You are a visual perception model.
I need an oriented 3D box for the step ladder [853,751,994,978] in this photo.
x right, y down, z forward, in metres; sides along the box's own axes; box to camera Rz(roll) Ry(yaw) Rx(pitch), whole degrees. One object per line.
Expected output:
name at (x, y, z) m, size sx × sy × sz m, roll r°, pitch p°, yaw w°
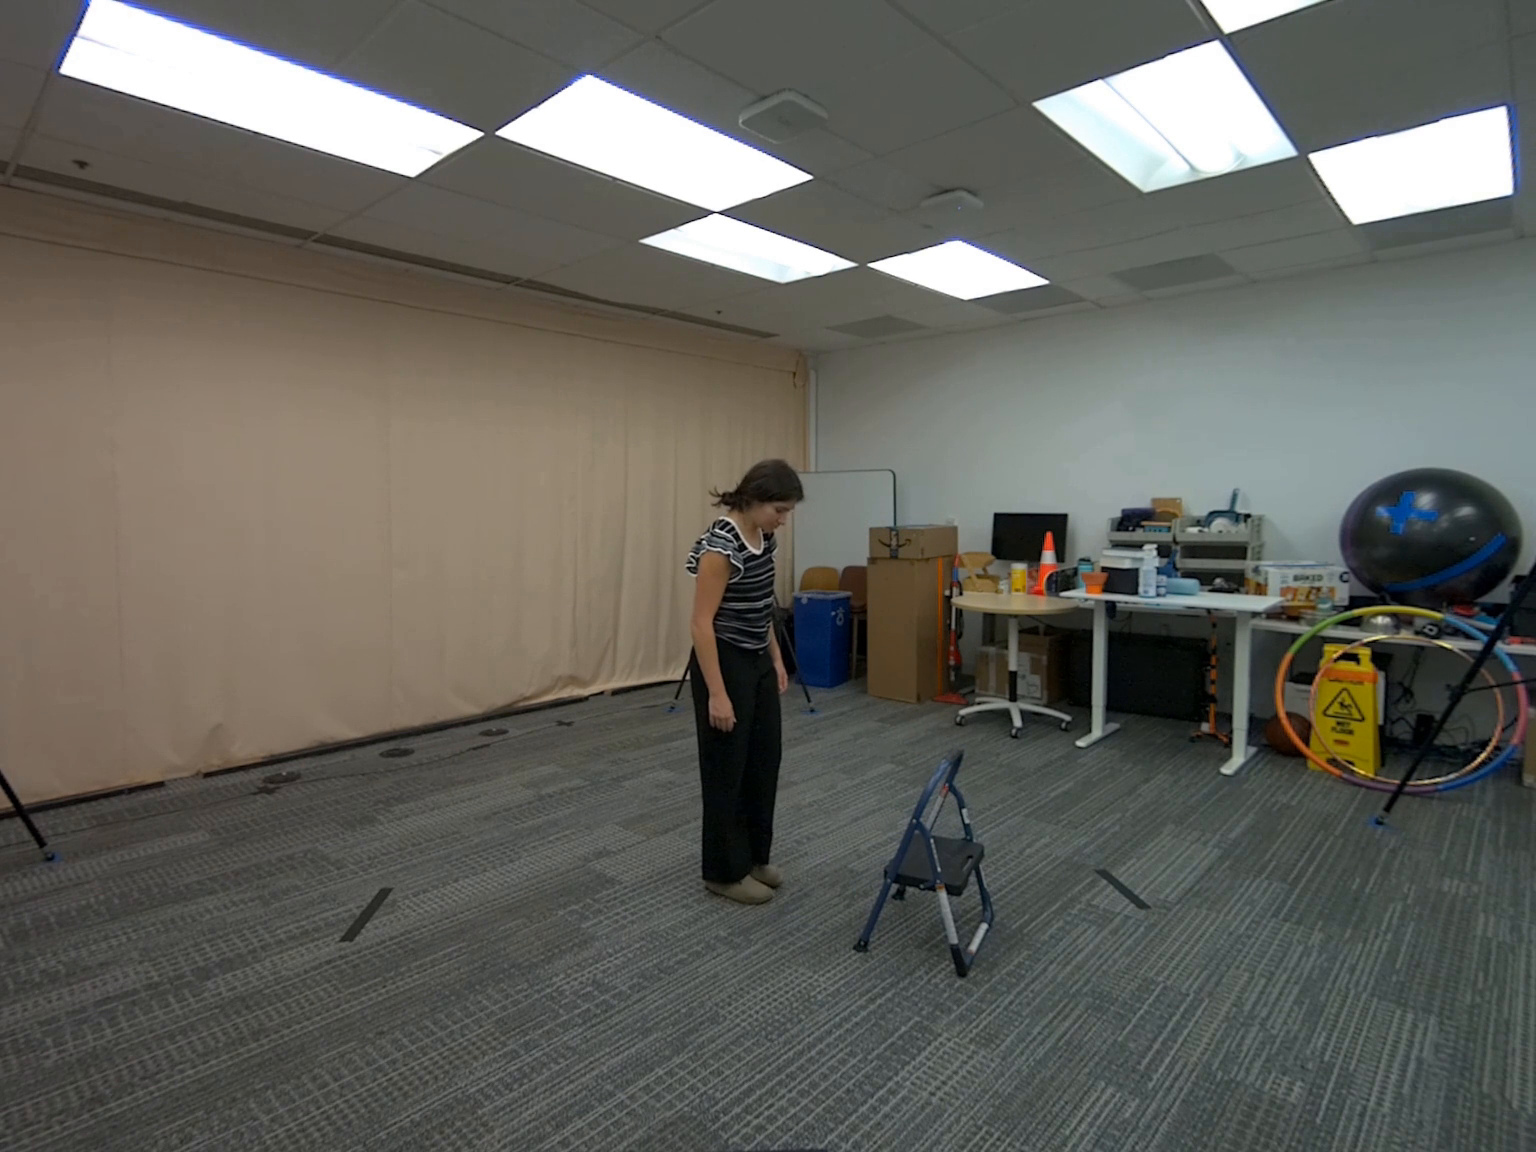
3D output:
step ladder at (0.520, 0.864, 2.719) m, size 0.359 × 0.605 × 0.420 m, roll 1°, pitch 4°, yaw 27°
